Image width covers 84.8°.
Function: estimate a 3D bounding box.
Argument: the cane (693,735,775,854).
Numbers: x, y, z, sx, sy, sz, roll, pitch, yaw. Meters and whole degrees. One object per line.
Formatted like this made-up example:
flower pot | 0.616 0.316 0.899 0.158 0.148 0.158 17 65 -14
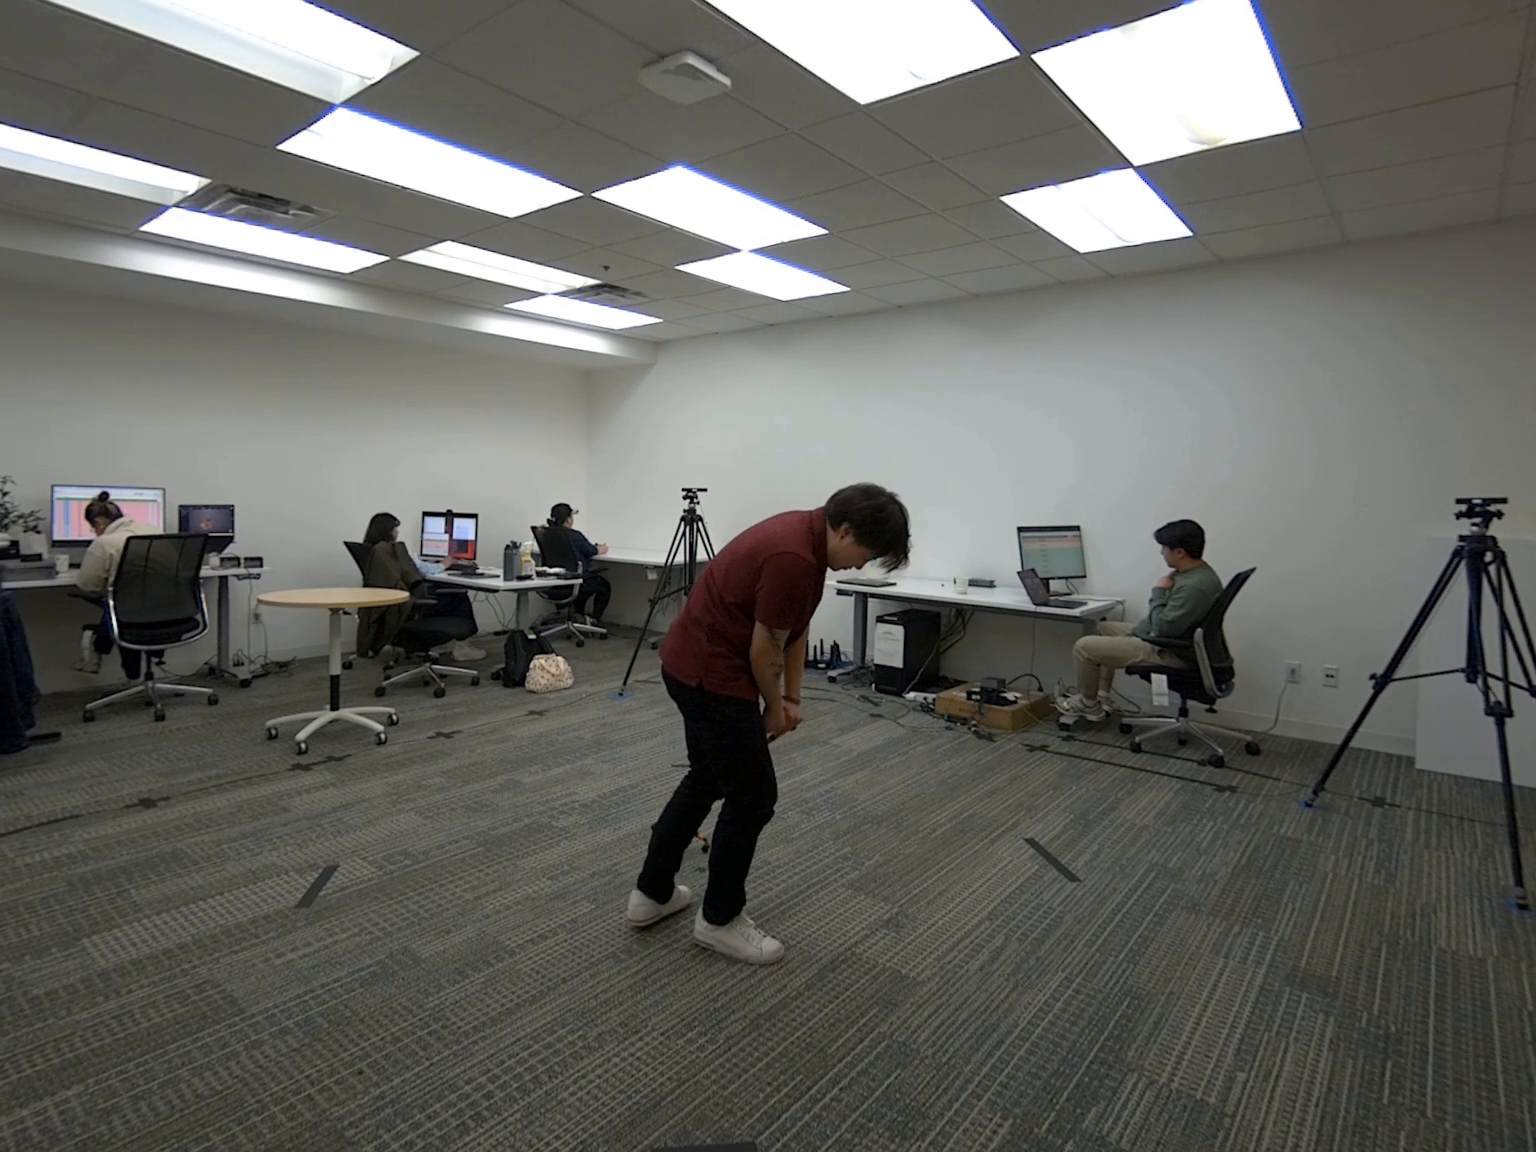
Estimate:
cane | -0.146 0.720 2.969 0.200 0.157 0.904 -1 -36 -36
